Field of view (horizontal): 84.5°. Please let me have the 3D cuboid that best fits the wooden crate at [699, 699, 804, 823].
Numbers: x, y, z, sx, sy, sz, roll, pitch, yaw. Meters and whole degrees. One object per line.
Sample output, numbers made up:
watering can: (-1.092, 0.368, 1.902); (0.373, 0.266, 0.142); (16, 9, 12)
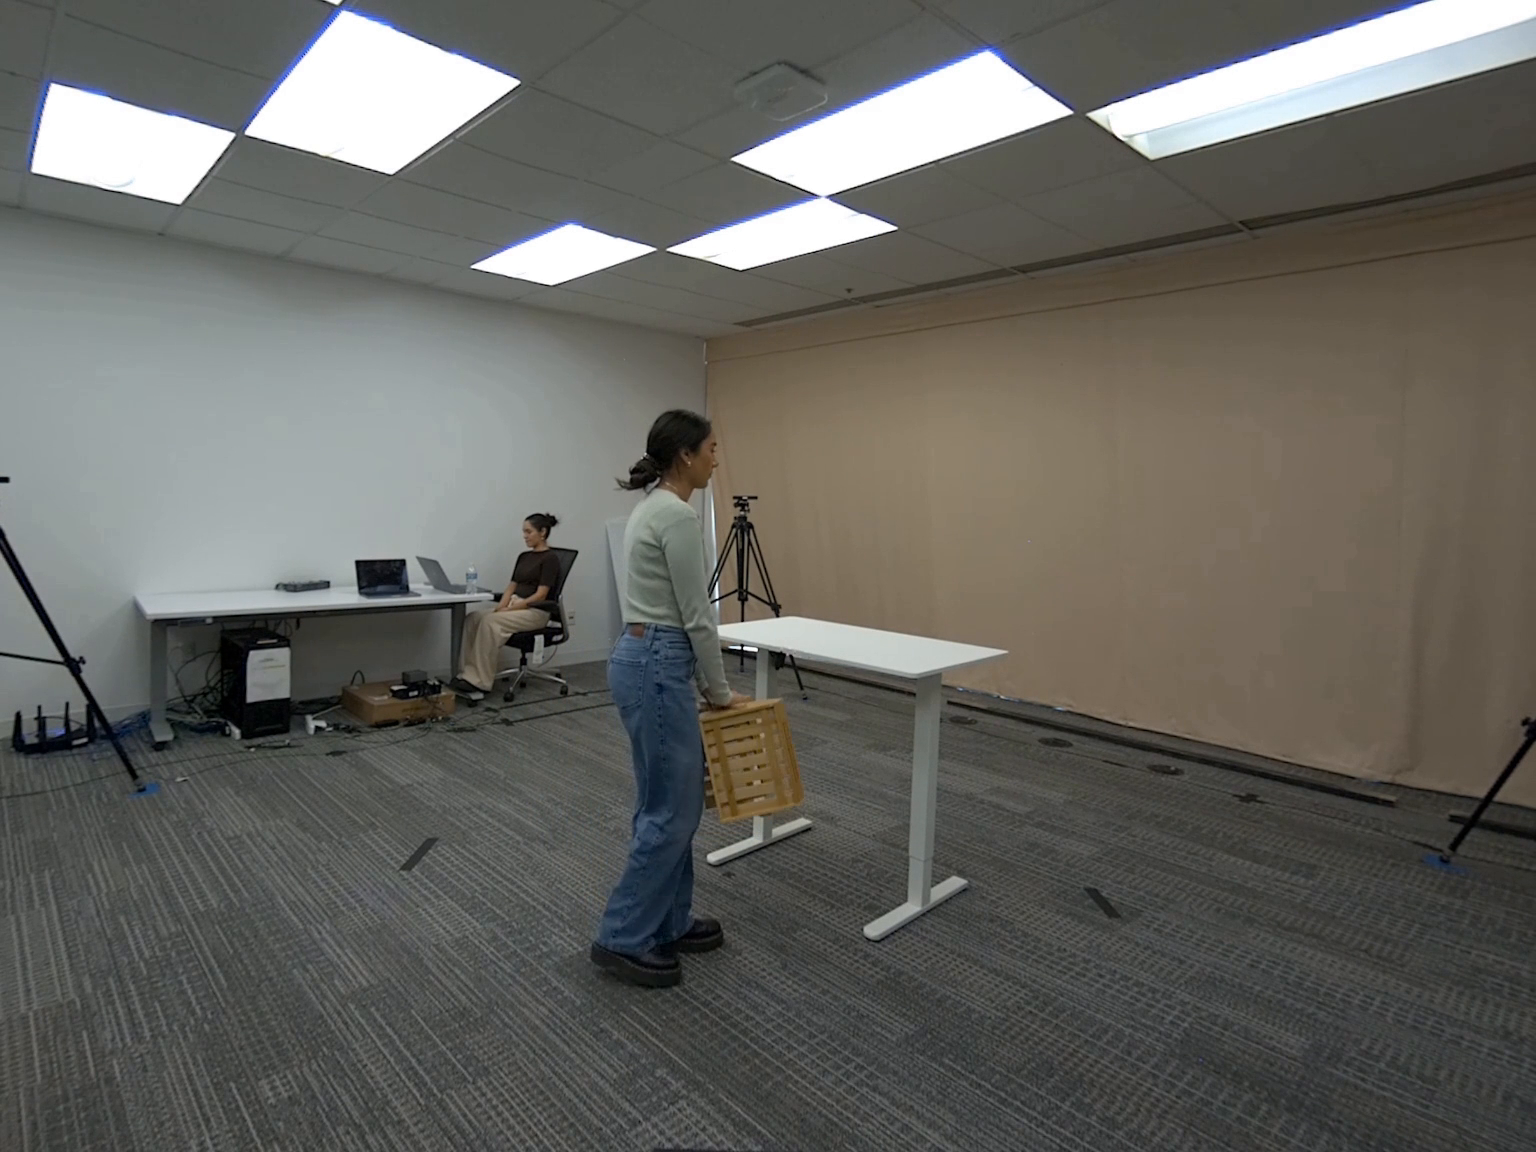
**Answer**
wooden crate: (-0.097, 0.541, 2.515); (0.302, 0.325, 0.272); (-12, -2, 1)
